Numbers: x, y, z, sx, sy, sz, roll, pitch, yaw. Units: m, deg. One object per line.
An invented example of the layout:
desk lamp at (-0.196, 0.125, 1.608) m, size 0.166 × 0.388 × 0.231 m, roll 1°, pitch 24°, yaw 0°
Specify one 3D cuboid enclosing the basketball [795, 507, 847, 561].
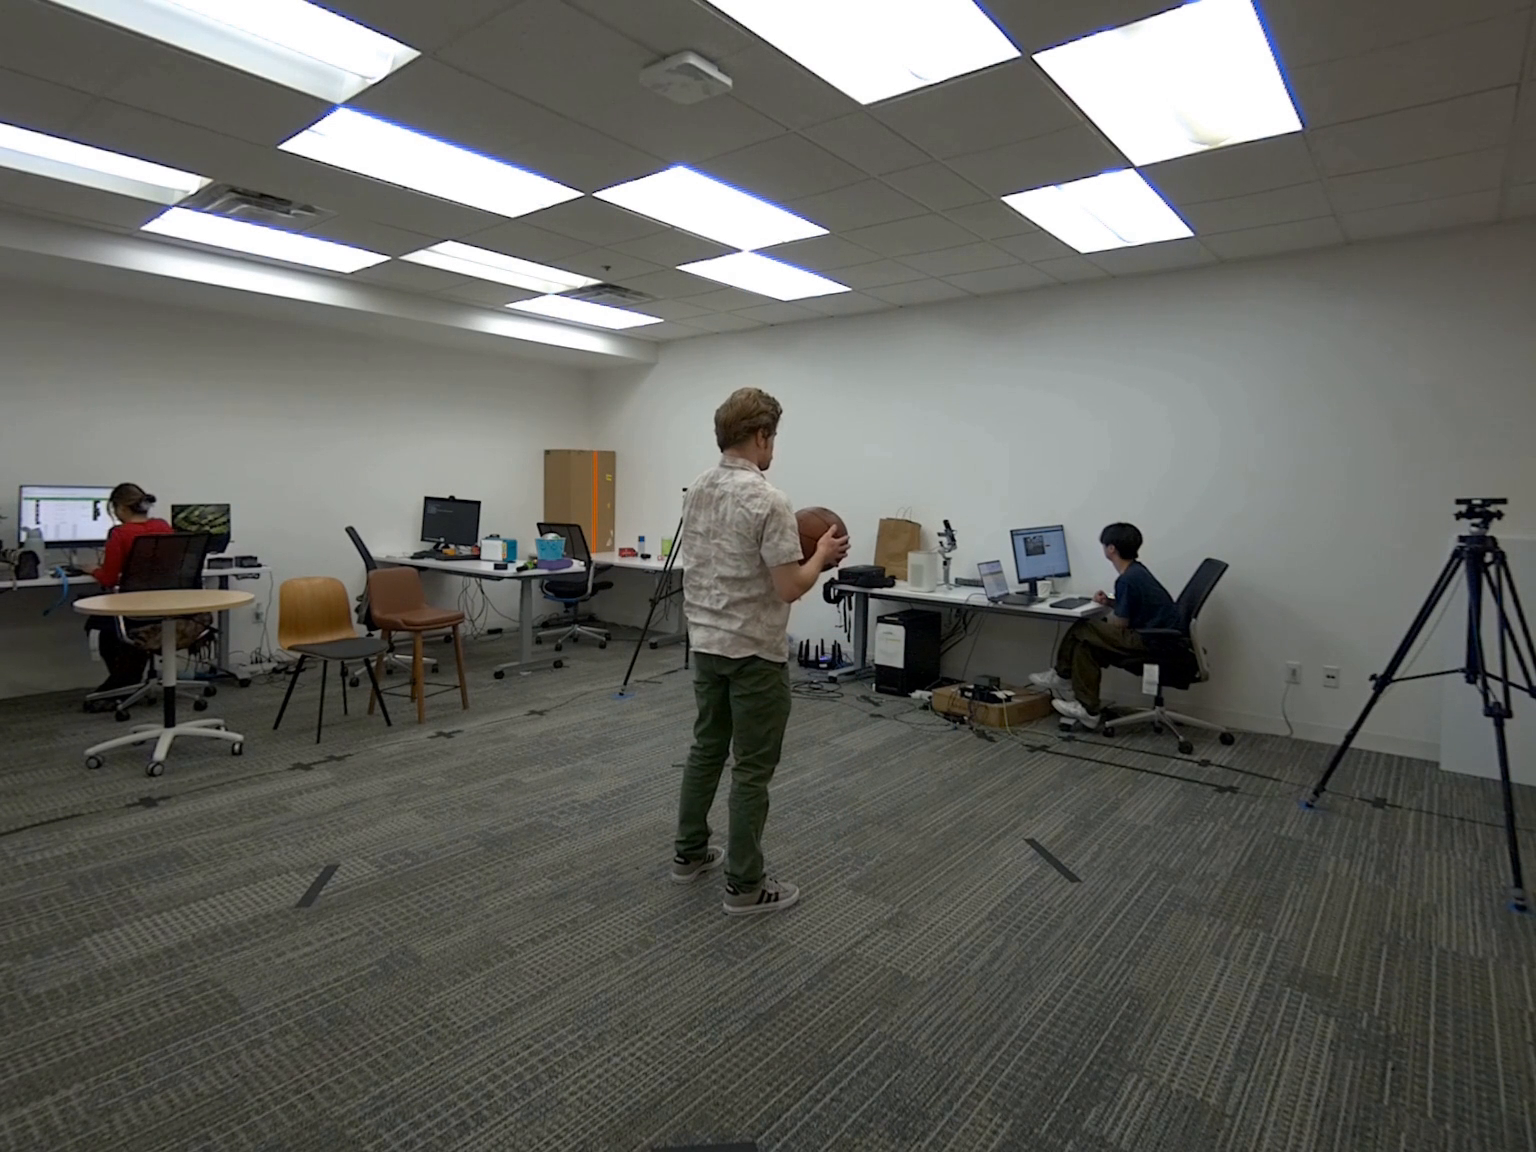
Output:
basketball at (0.161, -0.128, 3.046) m, size 0.235 × 0.235 × 0.237 m, roll 1°, pitch 4°, yaw -2°
